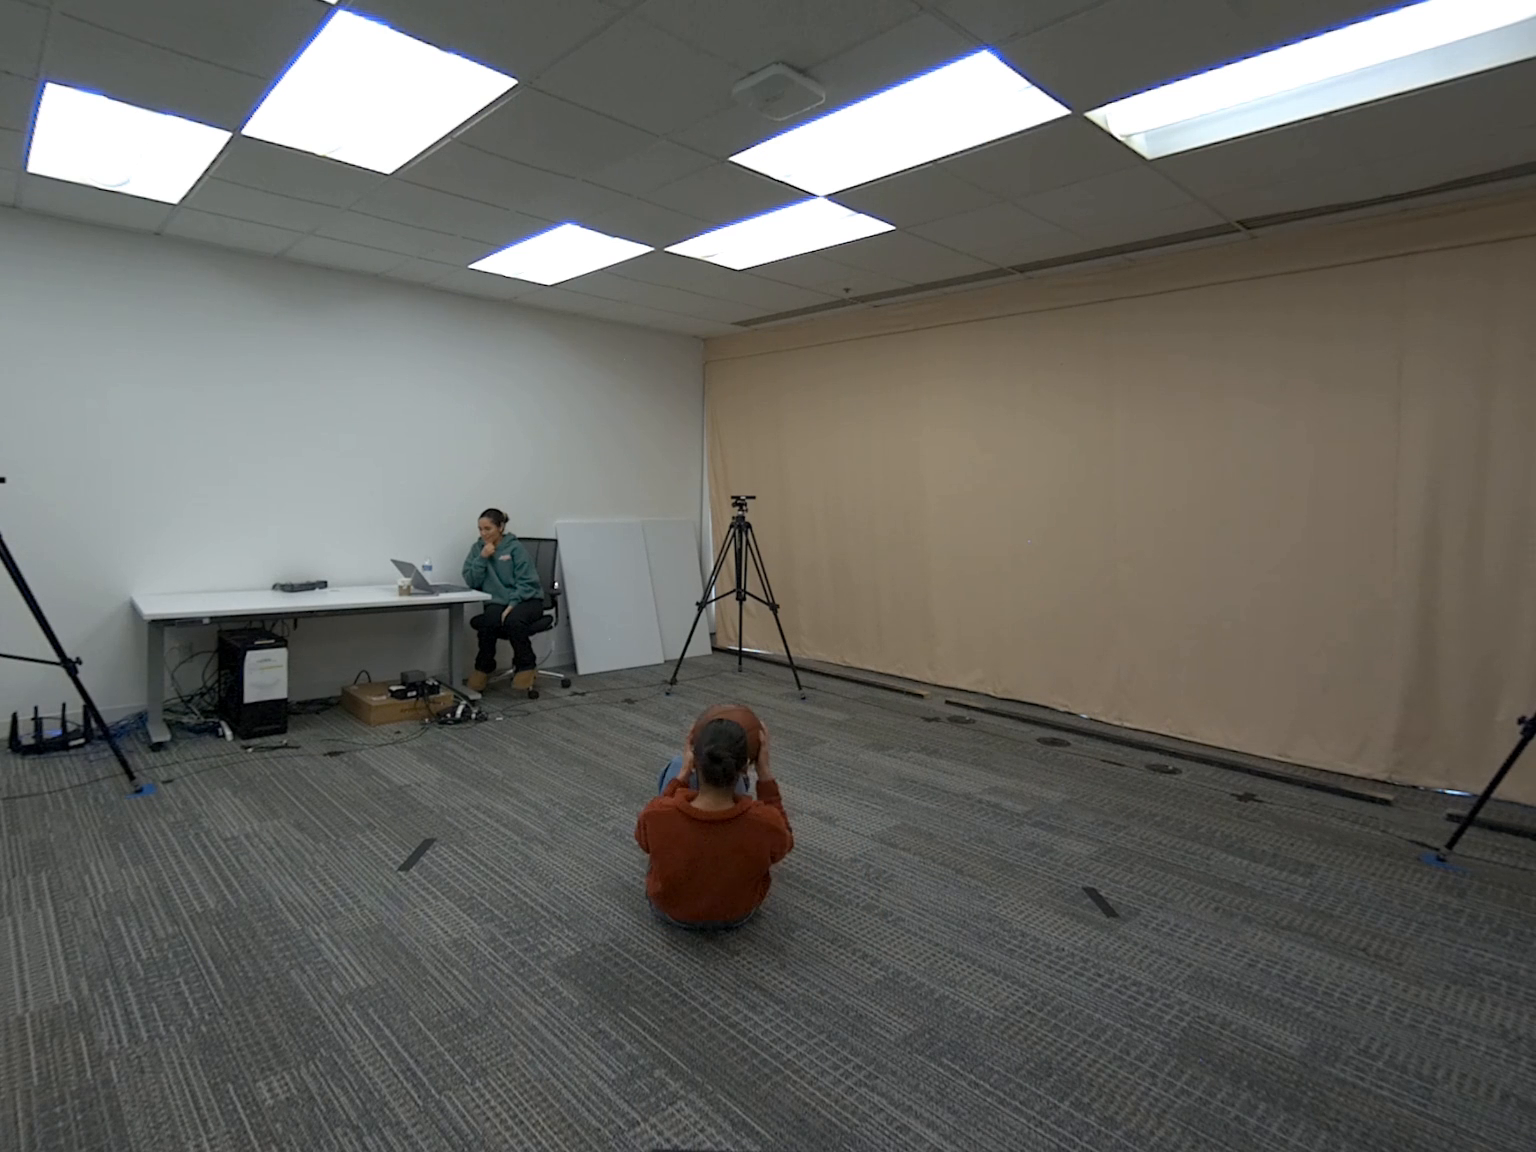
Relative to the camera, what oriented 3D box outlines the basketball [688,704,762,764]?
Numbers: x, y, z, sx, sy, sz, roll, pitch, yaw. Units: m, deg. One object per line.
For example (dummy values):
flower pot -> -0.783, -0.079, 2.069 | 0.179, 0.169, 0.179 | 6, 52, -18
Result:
basketball -> -0.127, 0.562, 2.783 | 0.236, 0.235, 0.237 | 1, 4, -1
